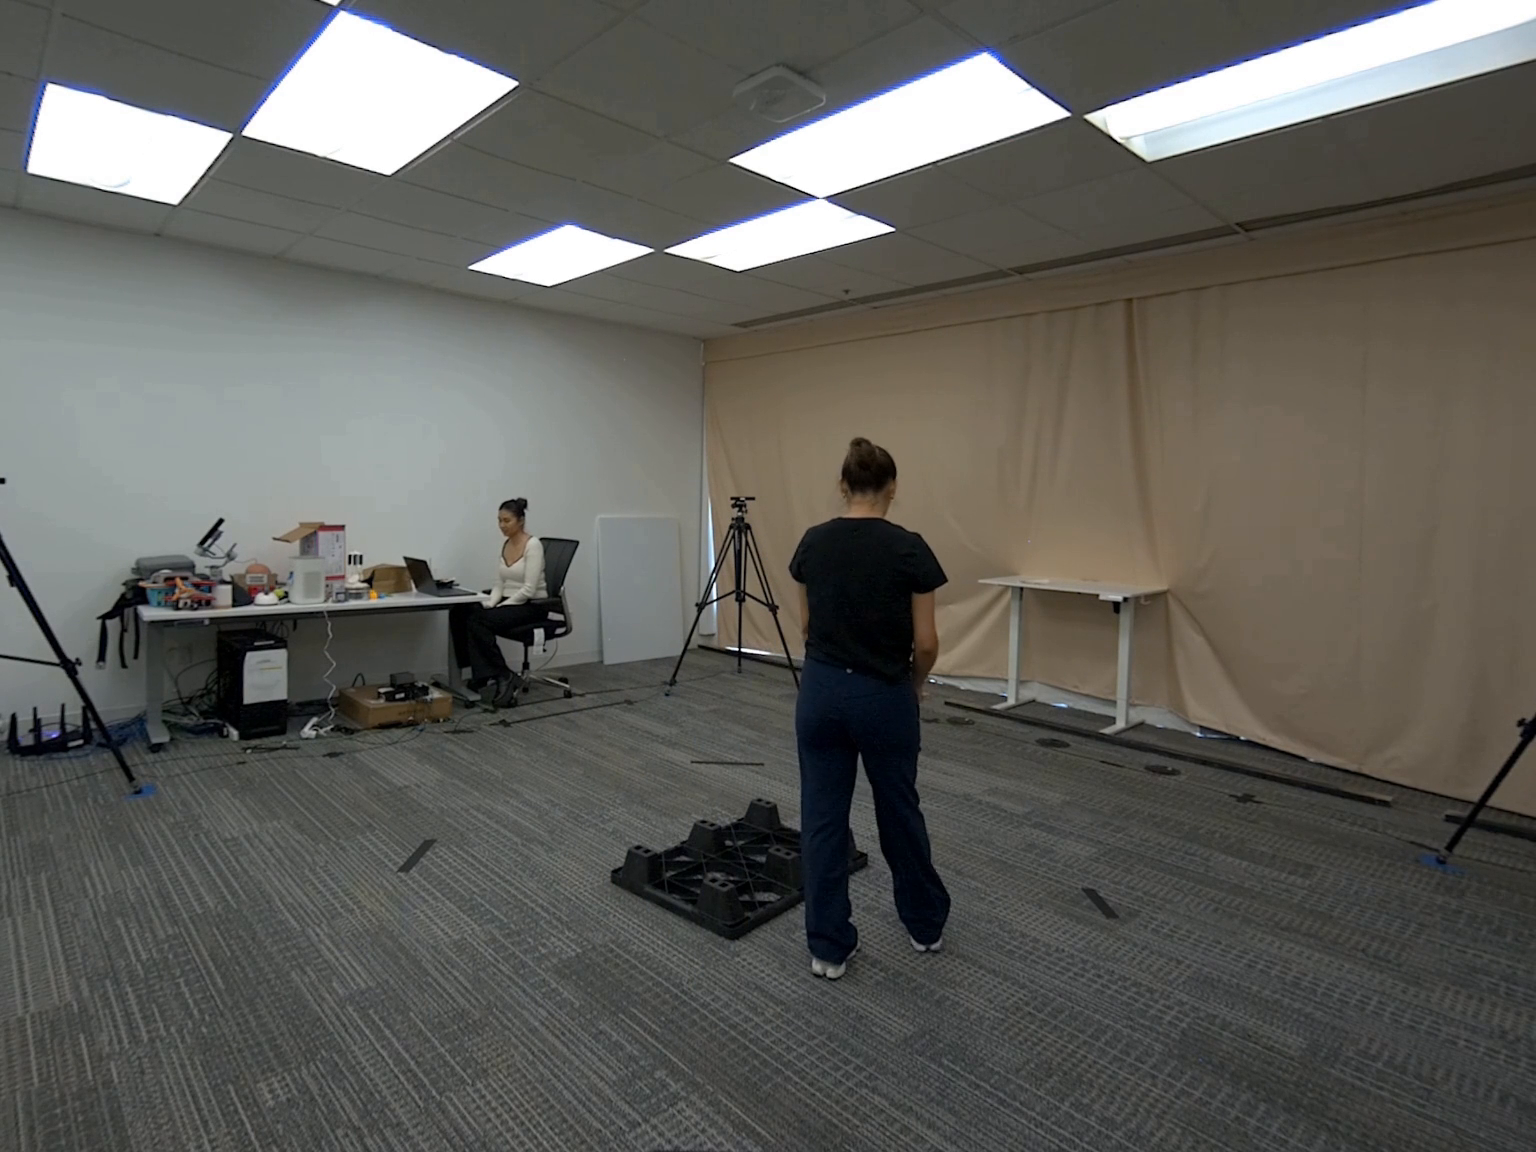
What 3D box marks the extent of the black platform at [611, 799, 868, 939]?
[{"bbox_3d":[-0.095,1.042,3.110,0.620,0.143,0.788,5,6,40],"label":"black platform"}]
